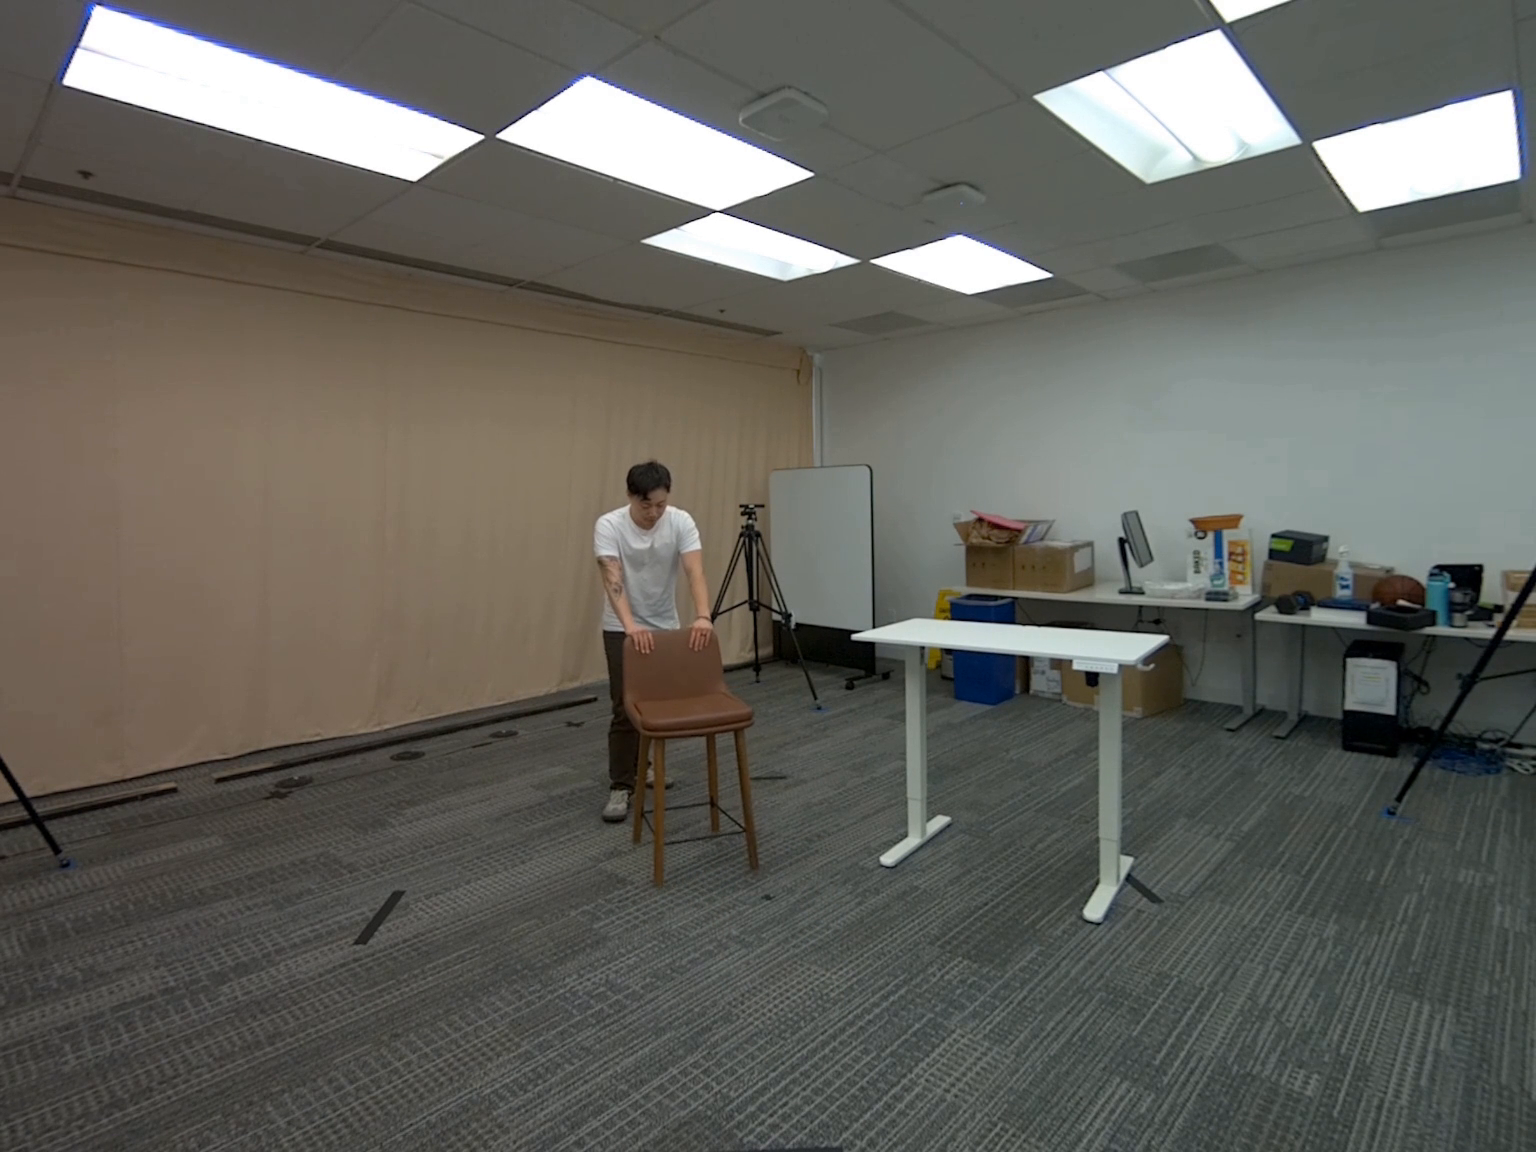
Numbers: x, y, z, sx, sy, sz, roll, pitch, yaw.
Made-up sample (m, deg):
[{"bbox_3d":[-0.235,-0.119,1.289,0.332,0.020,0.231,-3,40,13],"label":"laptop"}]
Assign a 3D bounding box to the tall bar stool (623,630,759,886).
[{"bbox_3d":[-0.315,0.681,3.340,0.447,0.889,0.477,-2,1,-21],"label":"tall bar stool"}]
